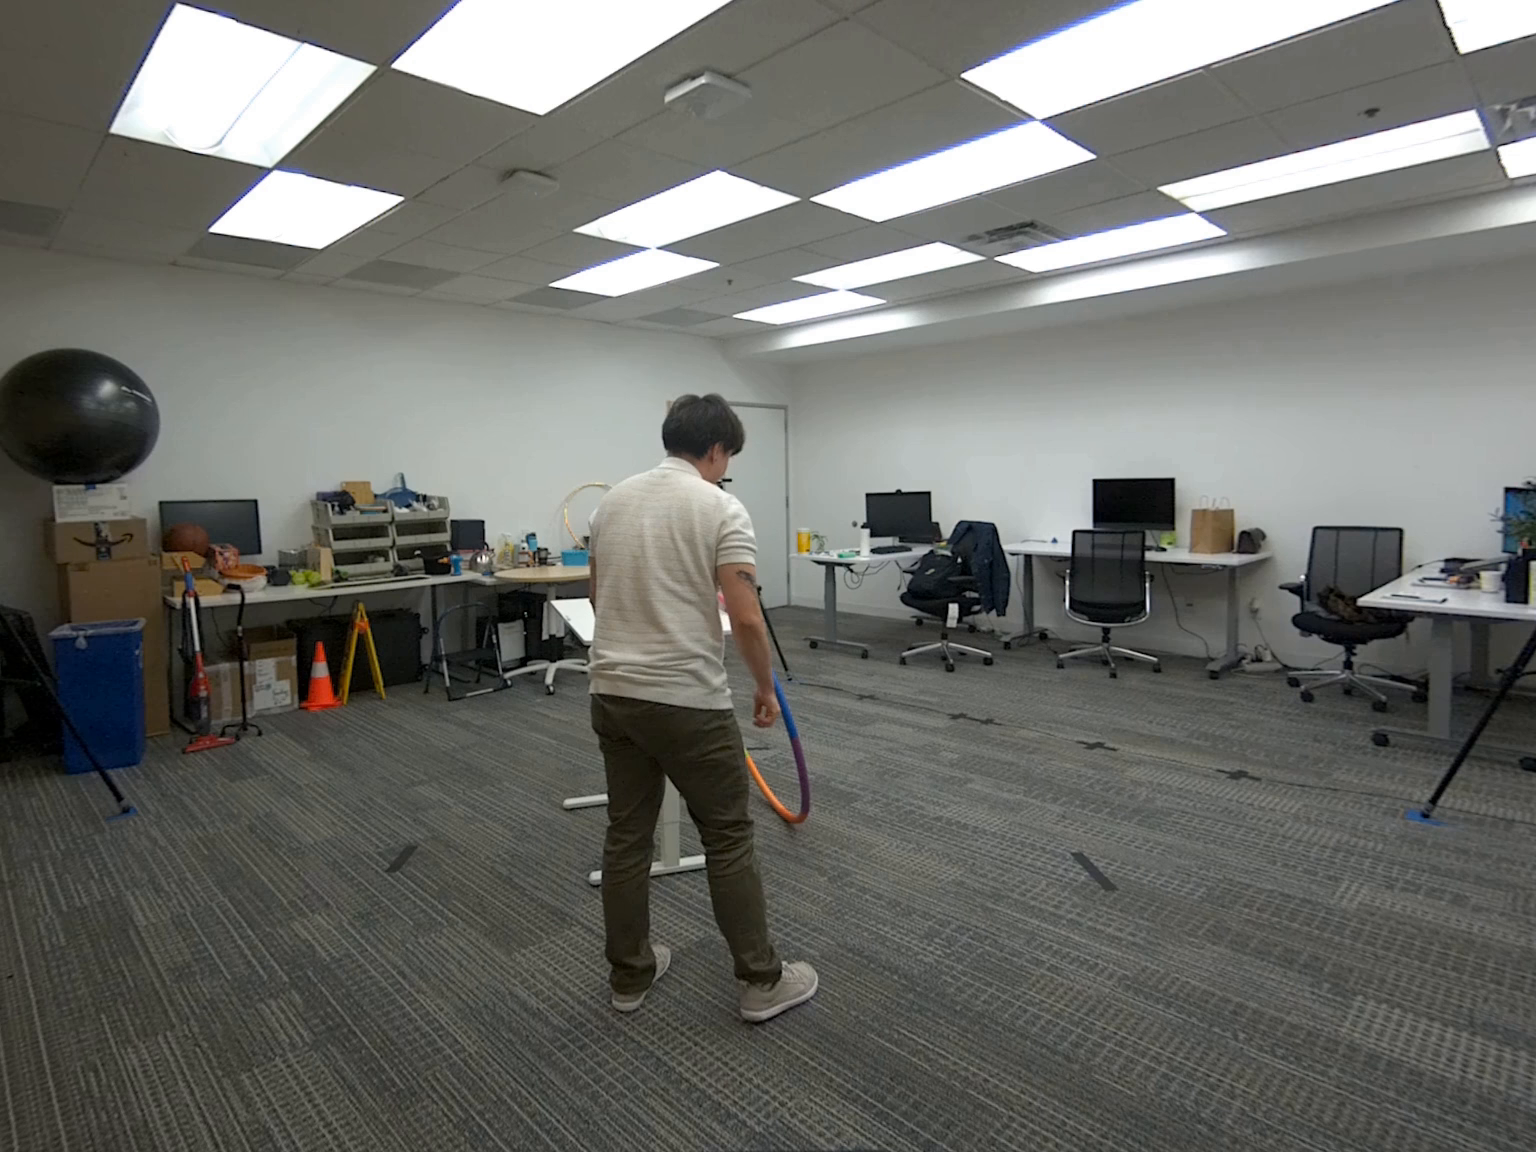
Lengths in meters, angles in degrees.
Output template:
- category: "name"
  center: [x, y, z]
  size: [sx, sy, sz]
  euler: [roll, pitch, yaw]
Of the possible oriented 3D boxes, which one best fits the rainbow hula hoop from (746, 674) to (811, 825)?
- category: "rainbow hula hoop"
  center: [-0.063, 0.535, 3.499]
  size: [0.035, 0.969, 0.999]
  euler: [-19, 10, -17]
